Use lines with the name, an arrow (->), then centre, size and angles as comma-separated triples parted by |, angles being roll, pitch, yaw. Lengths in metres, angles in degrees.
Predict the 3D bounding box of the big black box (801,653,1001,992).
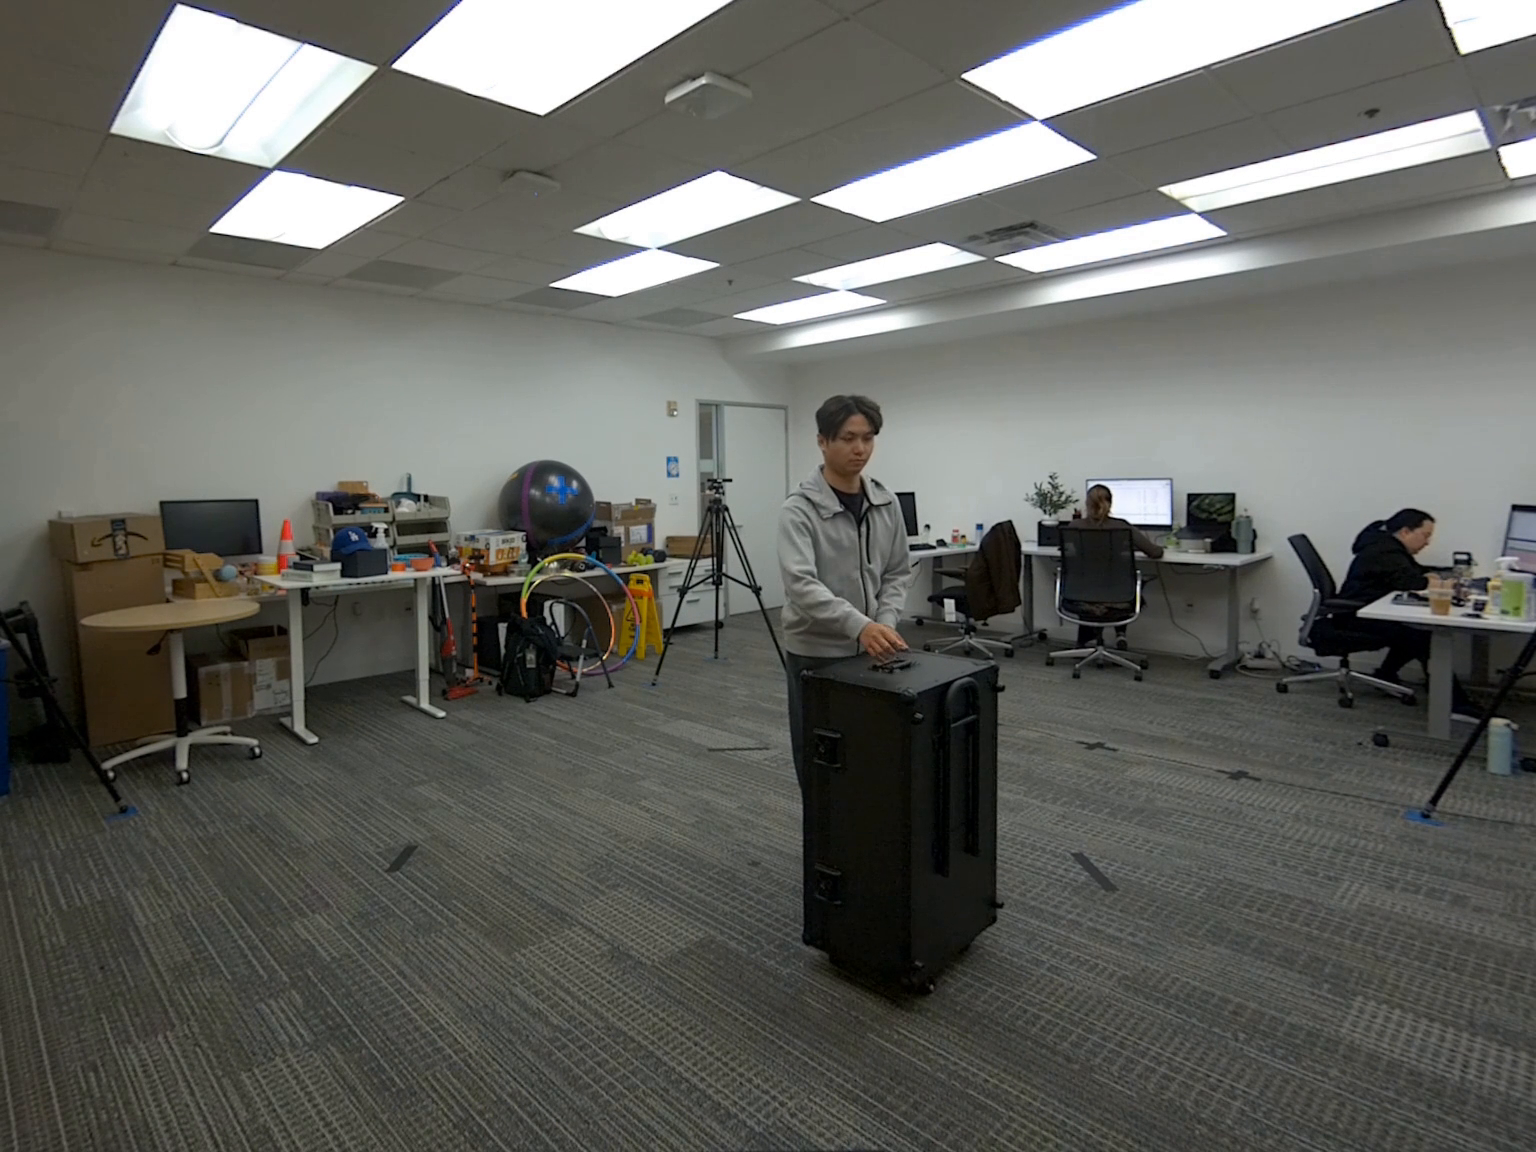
big black box -> 0.403, 0.686, 2.459 | 0.408, 0.857, 0.508 | 4, 7, 41
